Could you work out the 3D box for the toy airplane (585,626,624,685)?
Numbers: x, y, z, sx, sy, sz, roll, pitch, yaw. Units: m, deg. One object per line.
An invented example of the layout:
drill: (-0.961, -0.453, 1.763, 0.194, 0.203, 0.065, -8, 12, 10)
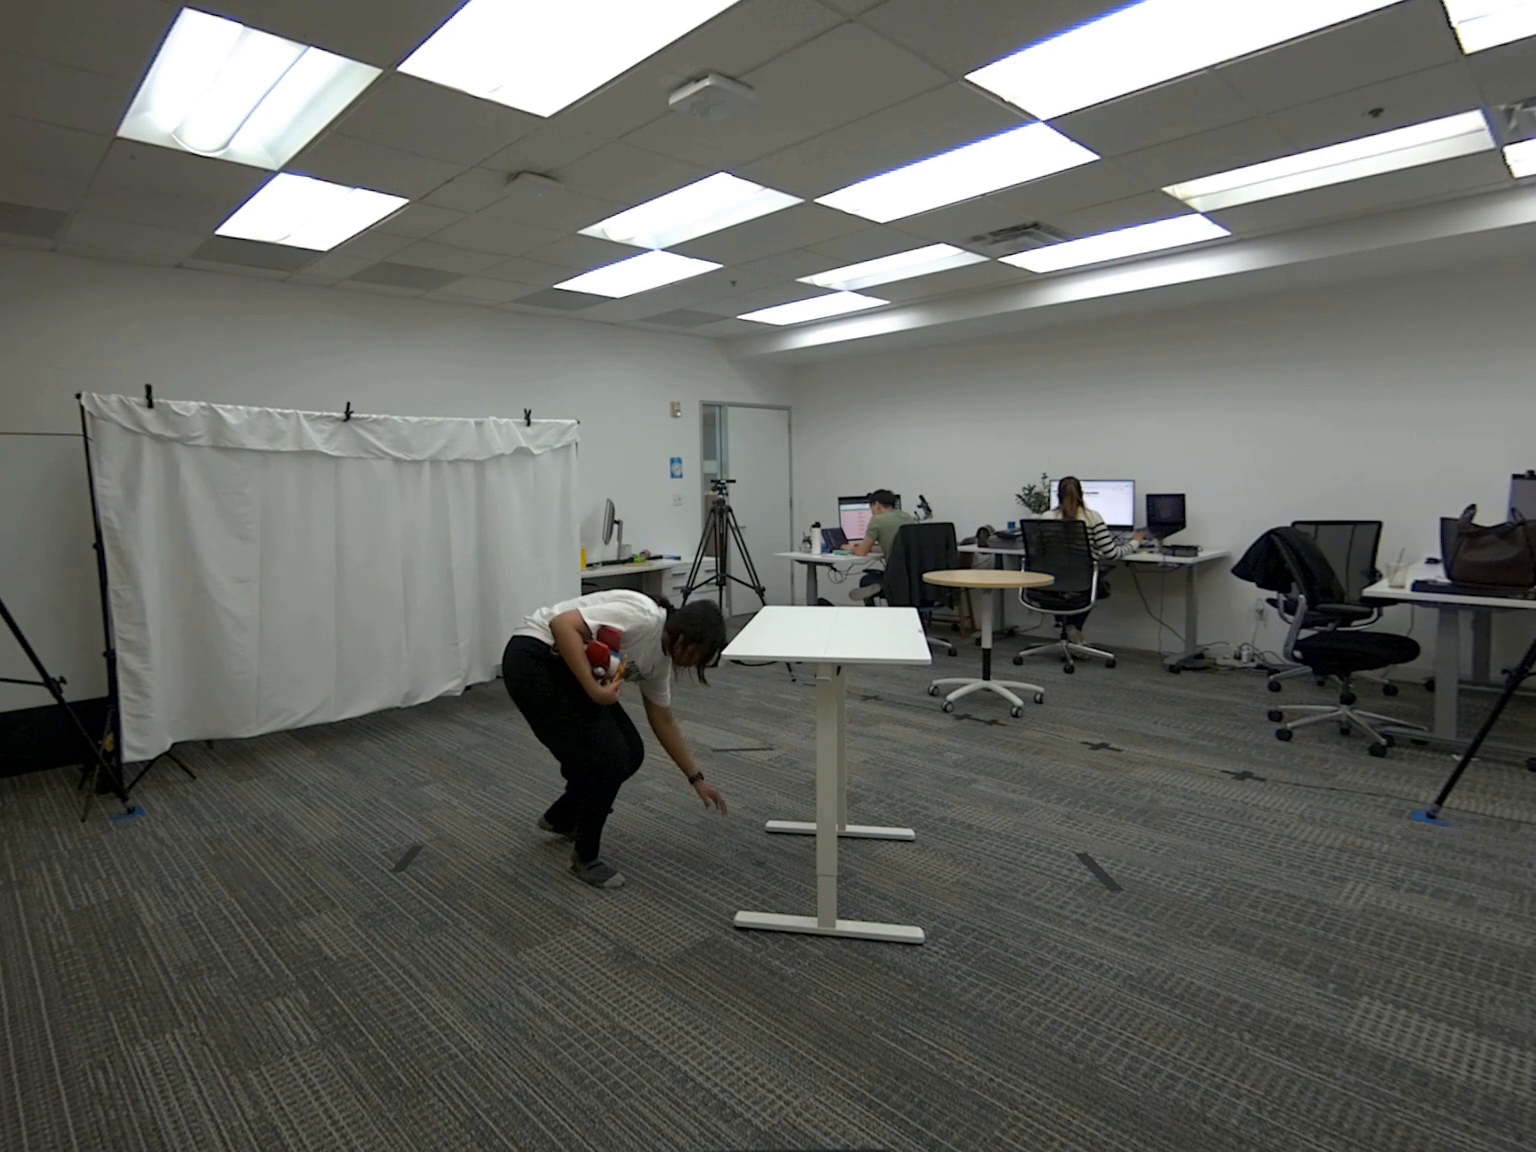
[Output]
toy airplane: (-0.619, 0.245, 2.914, 0.254, 0.257, 0.156, -29, 11, 46)
